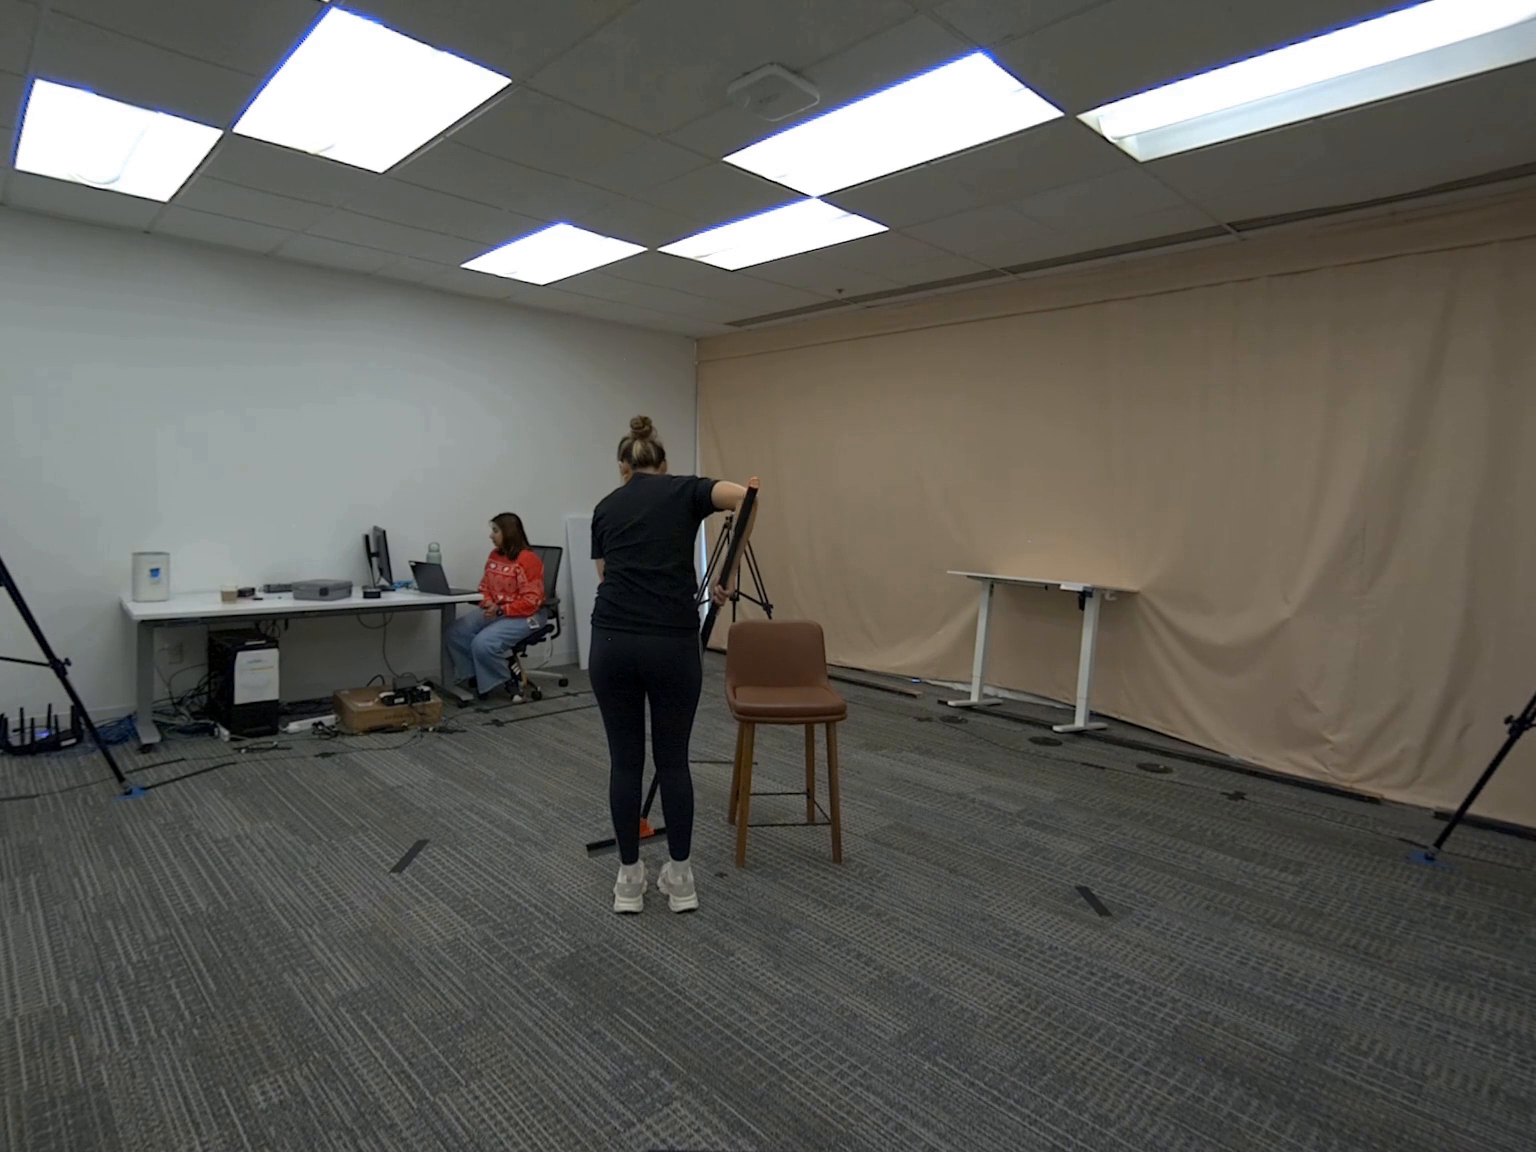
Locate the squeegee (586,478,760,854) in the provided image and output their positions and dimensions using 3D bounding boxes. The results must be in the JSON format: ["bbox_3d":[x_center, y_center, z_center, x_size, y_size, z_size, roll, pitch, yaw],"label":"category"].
[{"bbox_3d":[-0.267,0.342,2.914,0.428,1.522,0.055,0,32,-37],"label":"squeegee"}]
